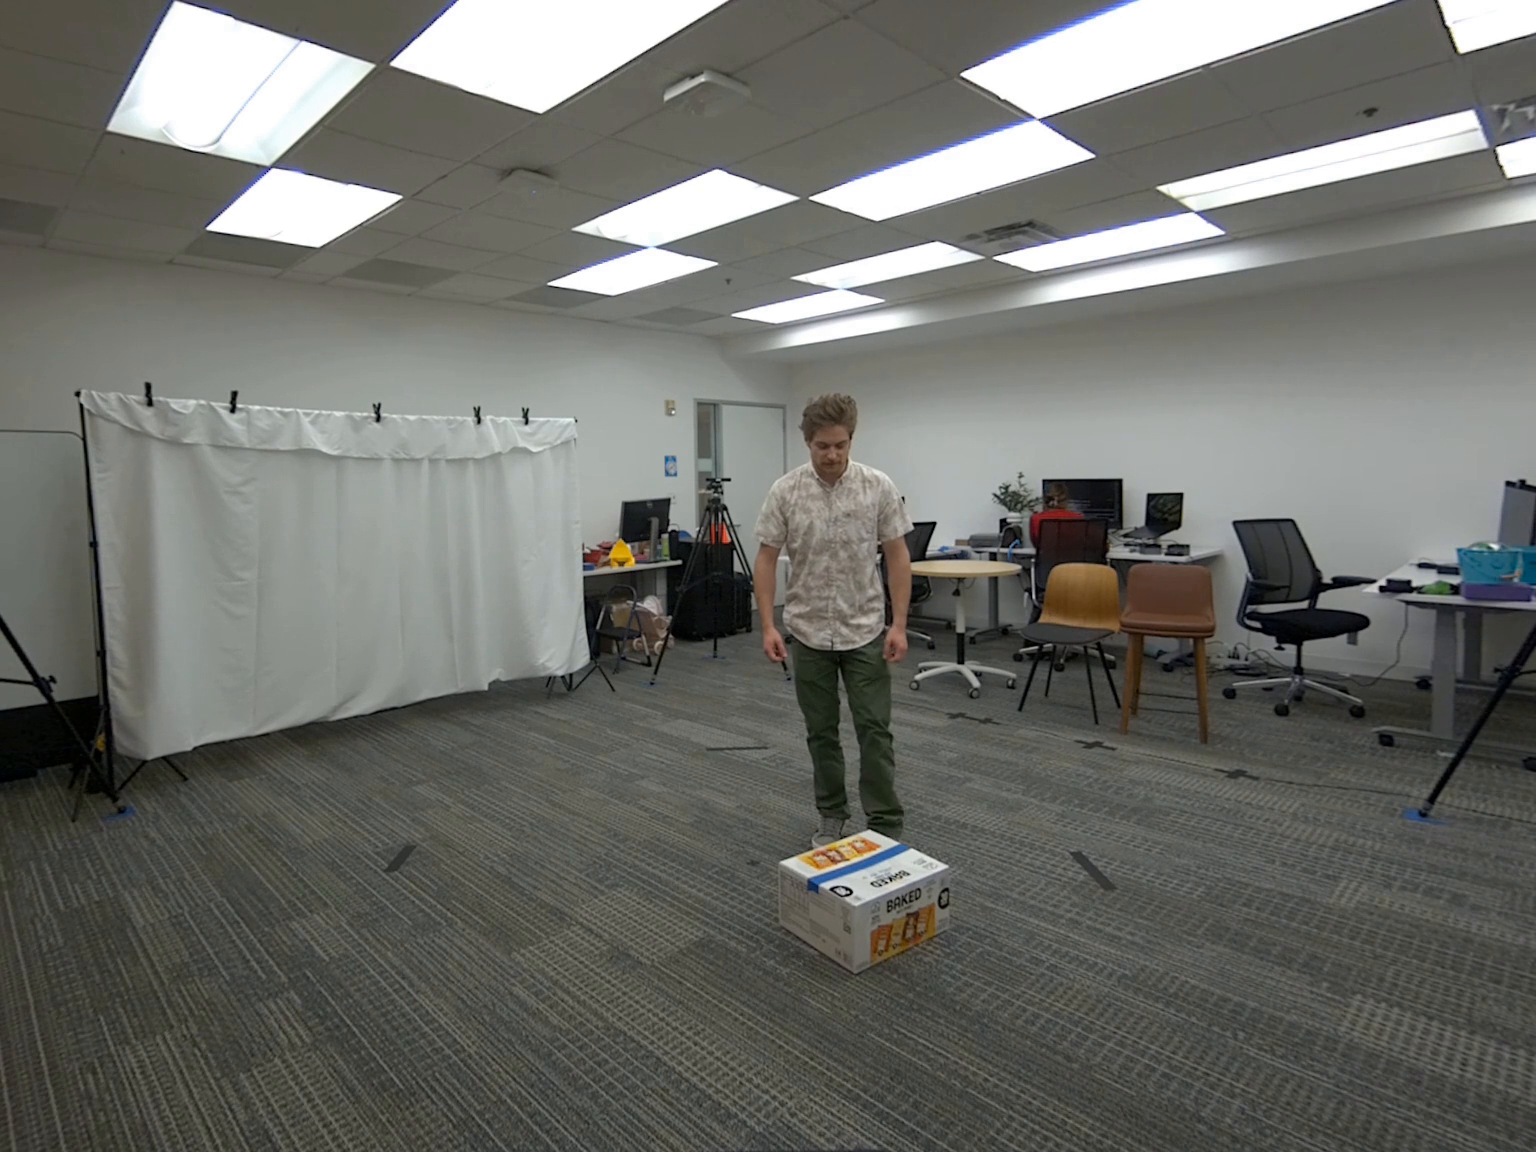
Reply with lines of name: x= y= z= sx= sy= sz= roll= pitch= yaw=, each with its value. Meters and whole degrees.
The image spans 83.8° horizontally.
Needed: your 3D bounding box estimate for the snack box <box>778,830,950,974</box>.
snack box: x=0.300 y=0.991 z=2.635 sx=0.395 sy=0.205 sz=0.350 roll=-6 pitch=7 yaw=-37
